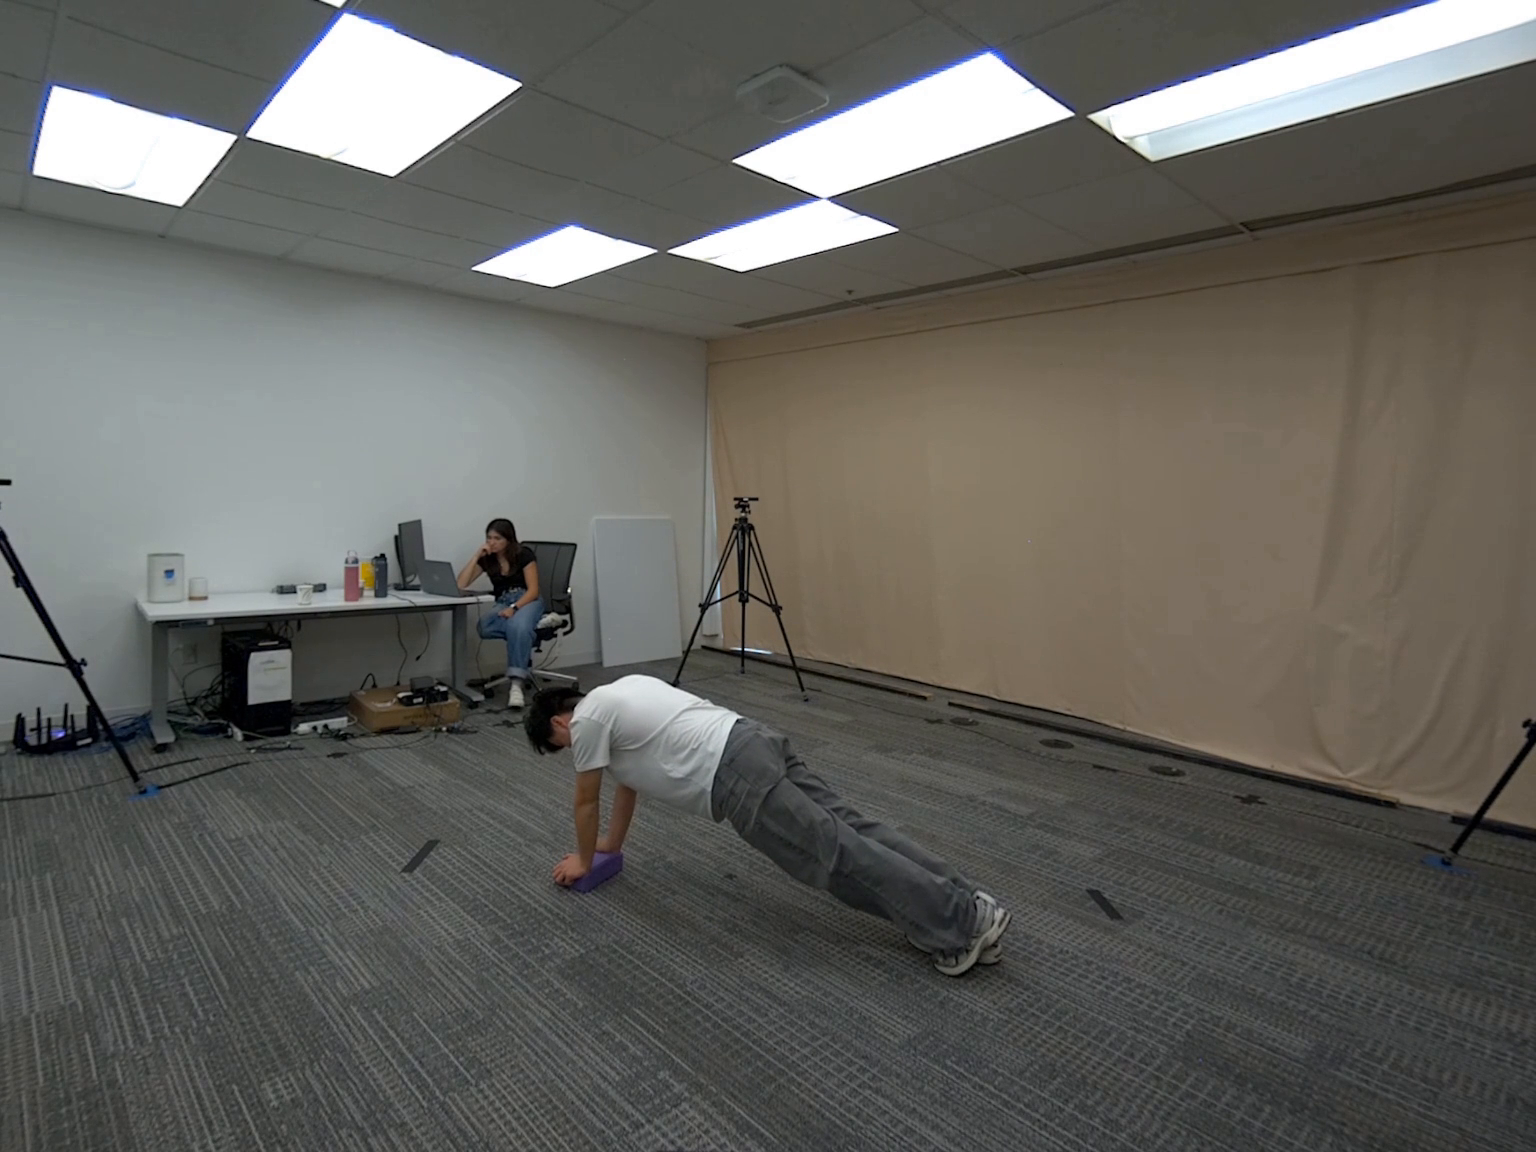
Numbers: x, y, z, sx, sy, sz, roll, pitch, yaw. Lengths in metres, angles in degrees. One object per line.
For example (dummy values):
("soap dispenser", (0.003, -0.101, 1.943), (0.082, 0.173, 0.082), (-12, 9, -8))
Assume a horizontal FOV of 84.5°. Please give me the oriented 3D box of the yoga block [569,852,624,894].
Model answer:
("yoga block", (-0.661, 1.070, 3.072), (0.152, 0.076, 0.225), (3, 7, 28))
